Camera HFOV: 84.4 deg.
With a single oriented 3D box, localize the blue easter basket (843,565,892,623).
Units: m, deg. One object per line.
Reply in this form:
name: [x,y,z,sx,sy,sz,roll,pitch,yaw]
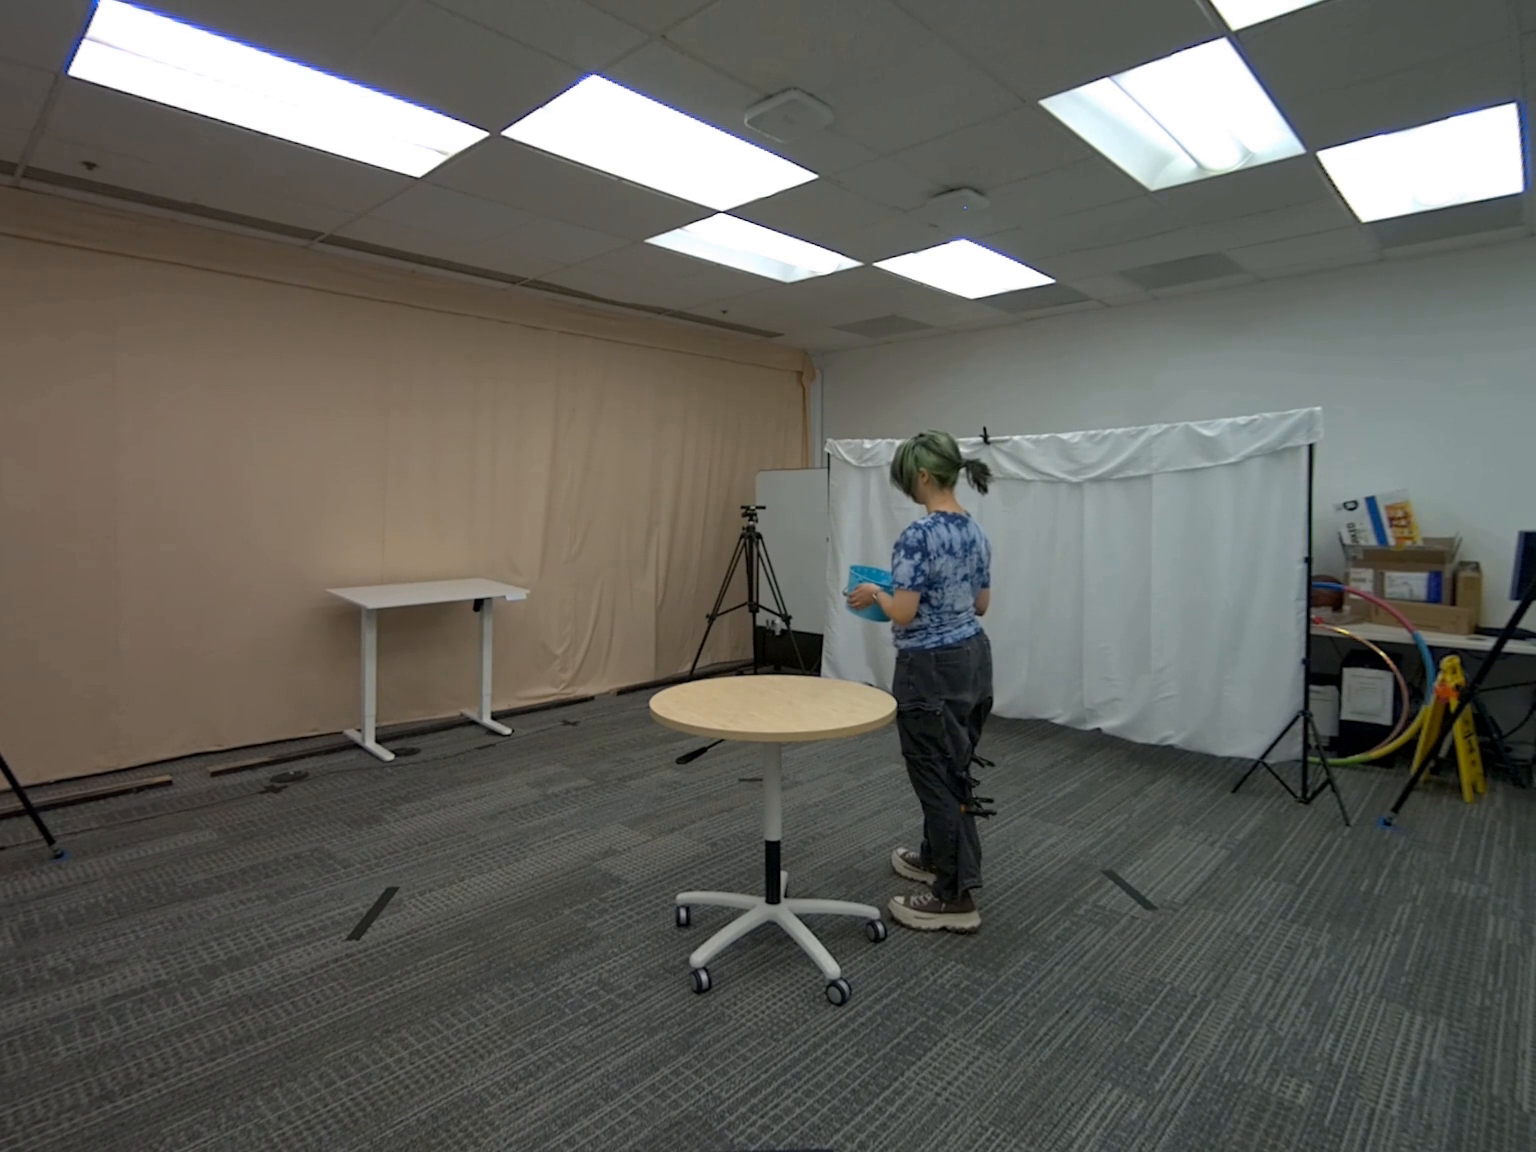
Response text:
blue easter basket: [0.421,0.074,3.199,0.242,0.155,0.246,11,15,-5]
